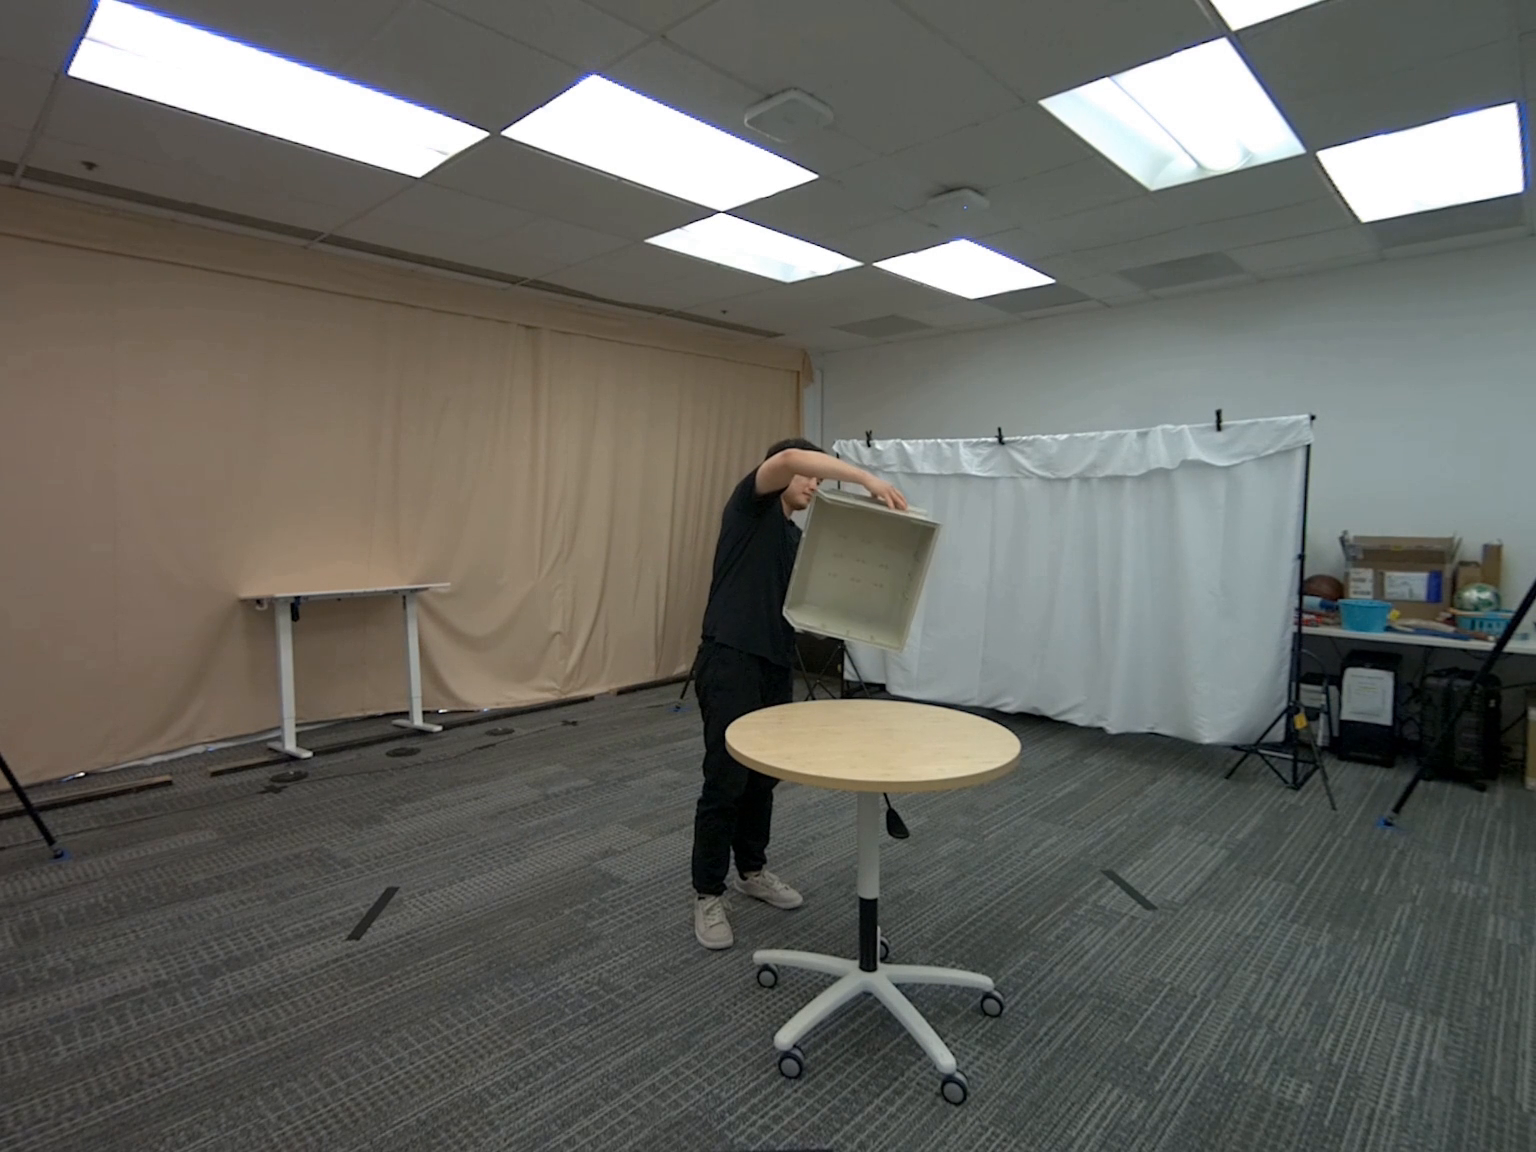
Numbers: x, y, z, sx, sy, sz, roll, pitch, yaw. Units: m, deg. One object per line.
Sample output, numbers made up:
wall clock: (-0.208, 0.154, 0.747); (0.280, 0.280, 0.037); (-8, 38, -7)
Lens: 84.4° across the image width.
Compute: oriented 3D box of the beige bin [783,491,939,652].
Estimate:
beige bin: (0.286, -0.027, 2.602); (0.377, 0.420, 0.190); (13, 14, 0)
